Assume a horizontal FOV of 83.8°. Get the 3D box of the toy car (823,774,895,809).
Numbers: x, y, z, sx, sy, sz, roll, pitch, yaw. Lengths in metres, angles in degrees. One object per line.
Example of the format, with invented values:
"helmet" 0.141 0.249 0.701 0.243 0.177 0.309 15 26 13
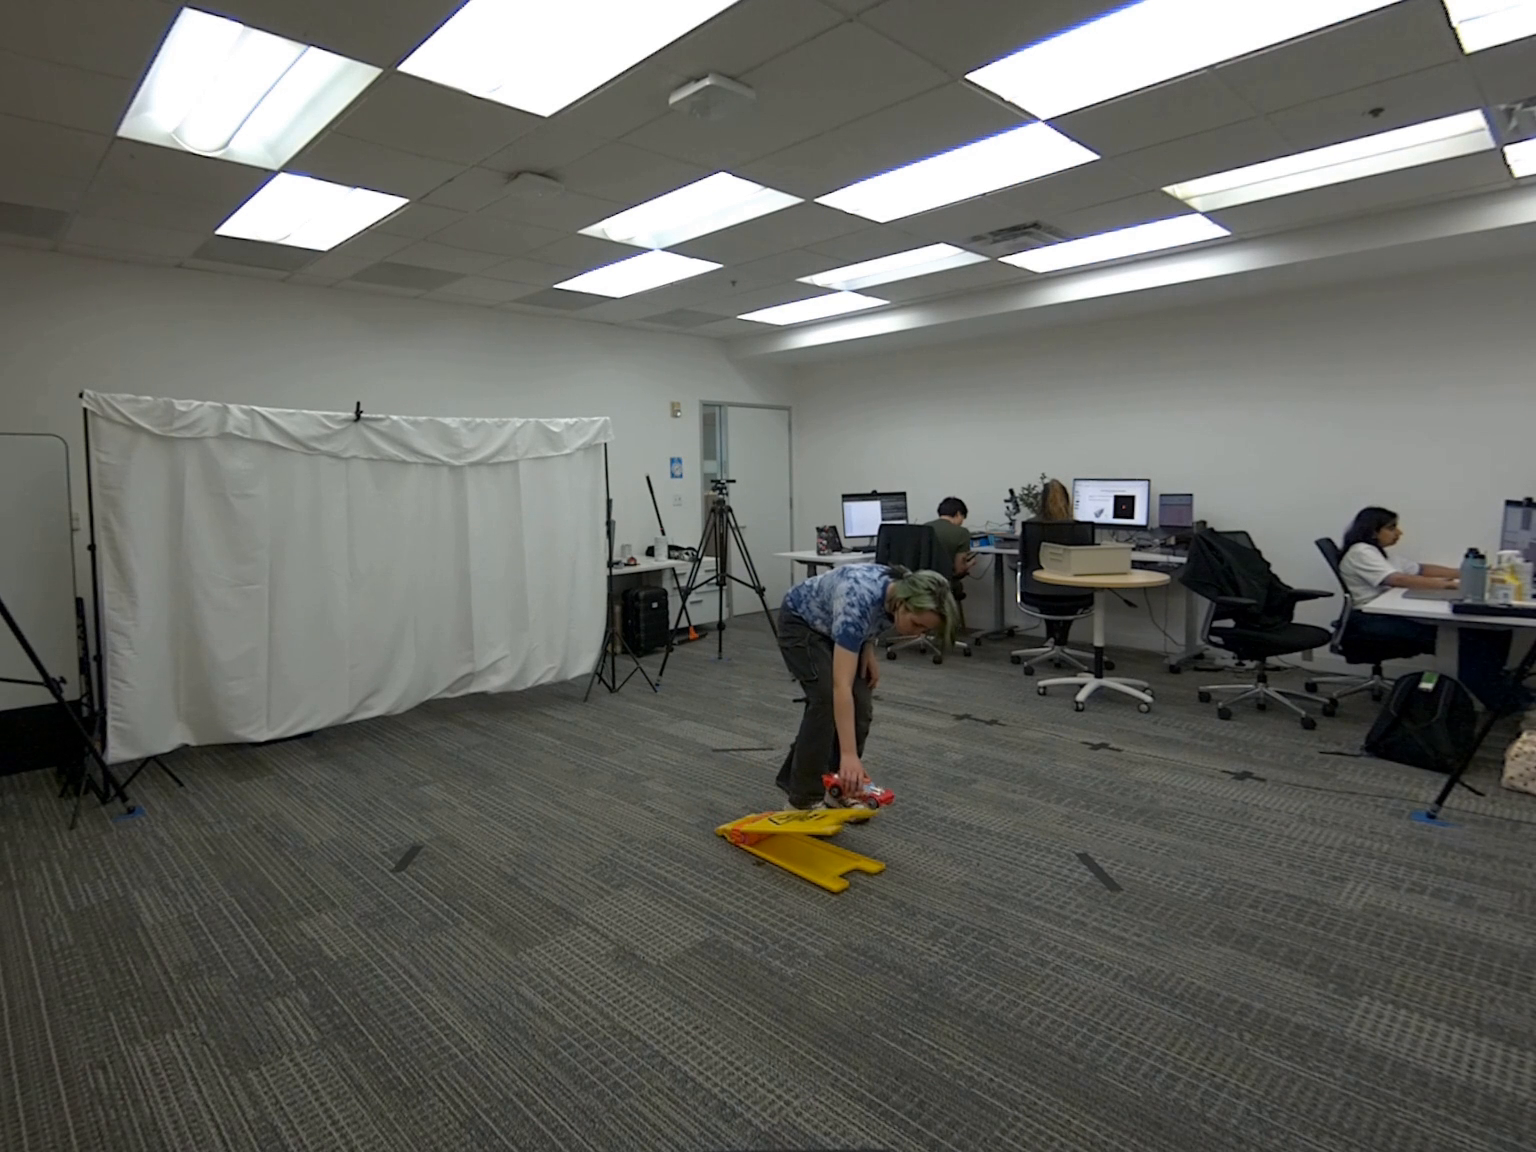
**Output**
"toy car" 0.308 0.752 2.960 0.264 0.083 0.126 20 13 41
